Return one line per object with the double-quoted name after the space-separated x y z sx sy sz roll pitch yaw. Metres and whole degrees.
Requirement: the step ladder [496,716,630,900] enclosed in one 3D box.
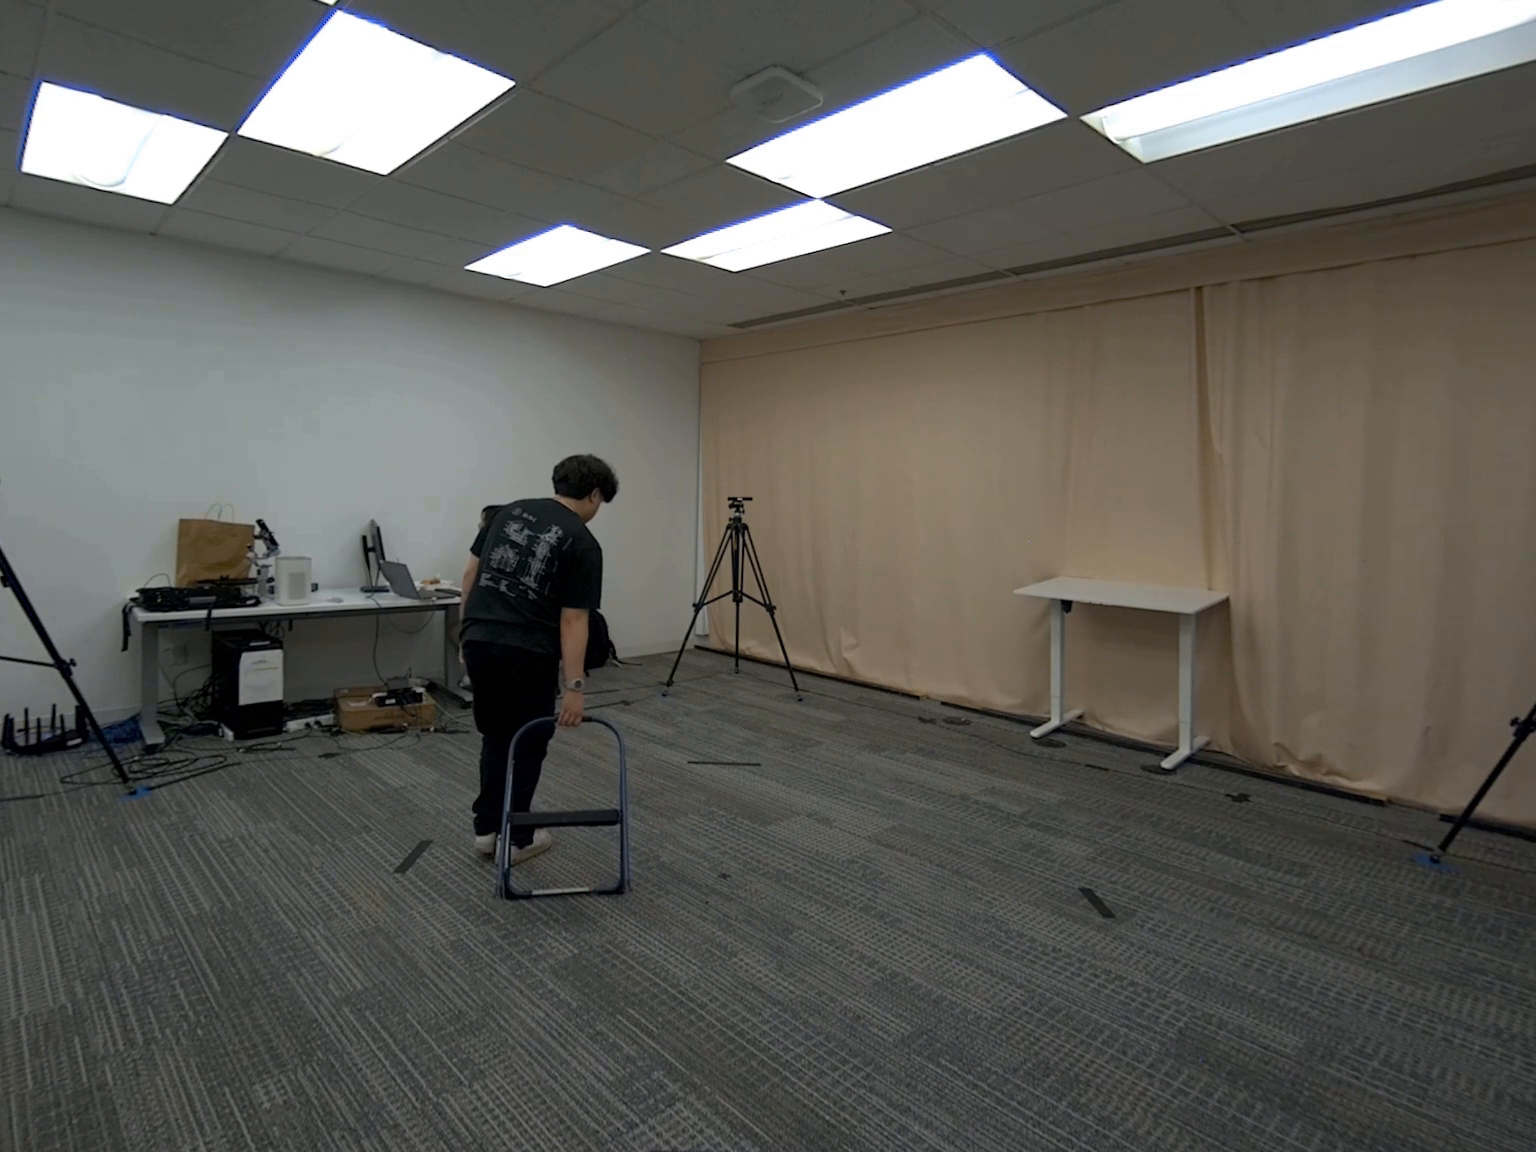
-0.698 0.777 2.889 0.427 0.616 0.346 1 -23 -11 "step ladder"
